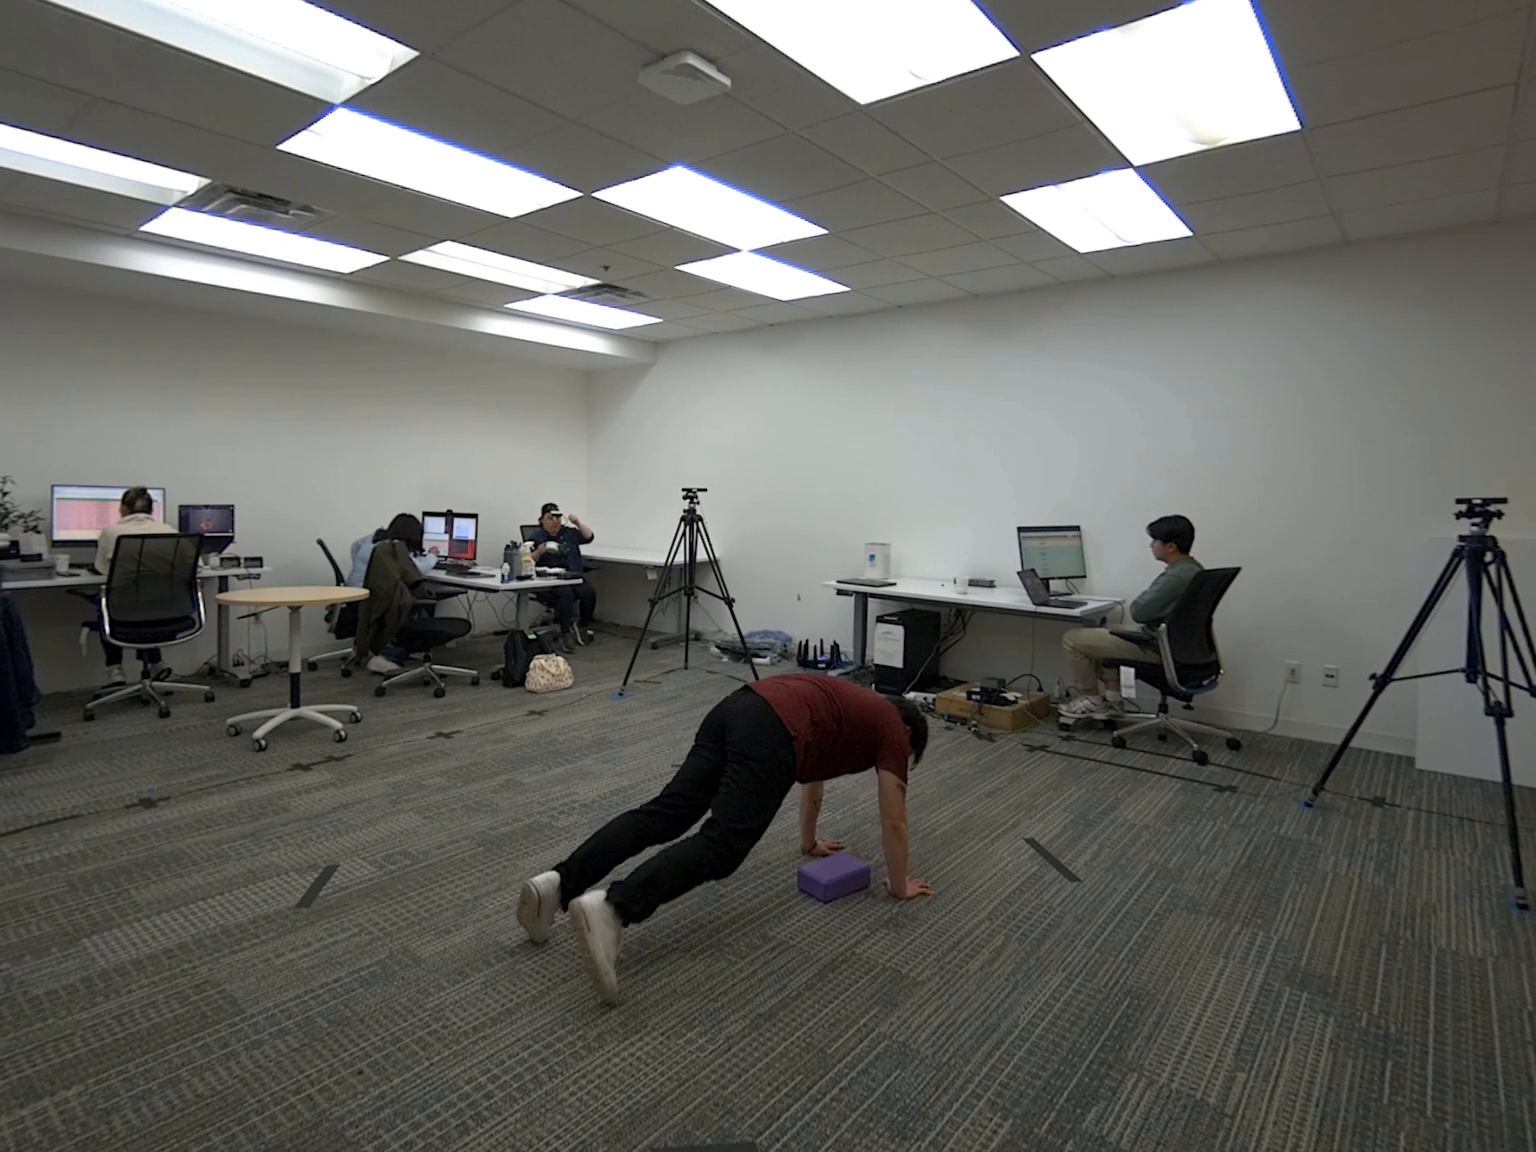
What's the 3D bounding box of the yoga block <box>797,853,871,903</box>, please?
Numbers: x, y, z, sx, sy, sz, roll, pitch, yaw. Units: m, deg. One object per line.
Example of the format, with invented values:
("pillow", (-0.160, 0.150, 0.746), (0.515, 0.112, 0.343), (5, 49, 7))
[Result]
("yoga block", (0.227, 1.048, 2.983), (0.222, 0.076, 0.154), (-2, 6, -40))
